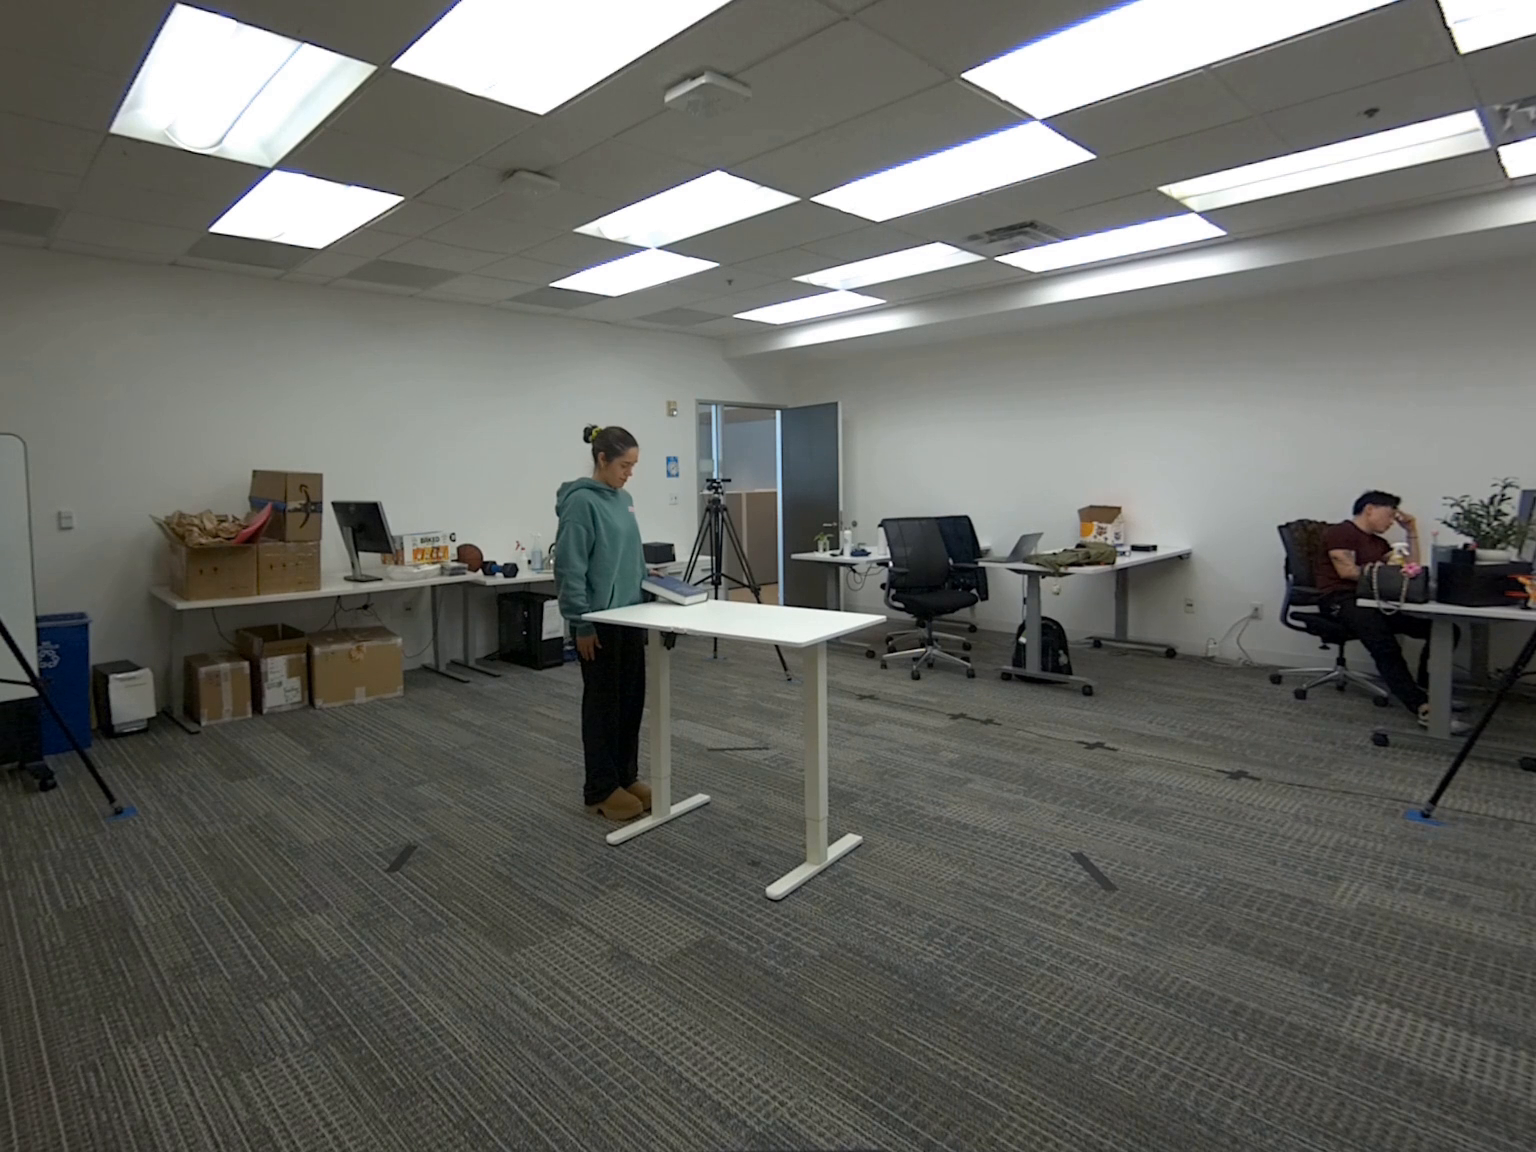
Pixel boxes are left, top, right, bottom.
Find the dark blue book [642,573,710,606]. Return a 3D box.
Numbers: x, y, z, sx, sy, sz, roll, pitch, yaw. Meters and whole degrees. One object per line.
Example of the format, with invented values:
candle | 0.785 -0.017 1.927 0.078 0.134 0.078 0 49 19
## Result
dark blue book | -0.392 0.057 3.610 0.253 0.045 0.160 20 17 31
